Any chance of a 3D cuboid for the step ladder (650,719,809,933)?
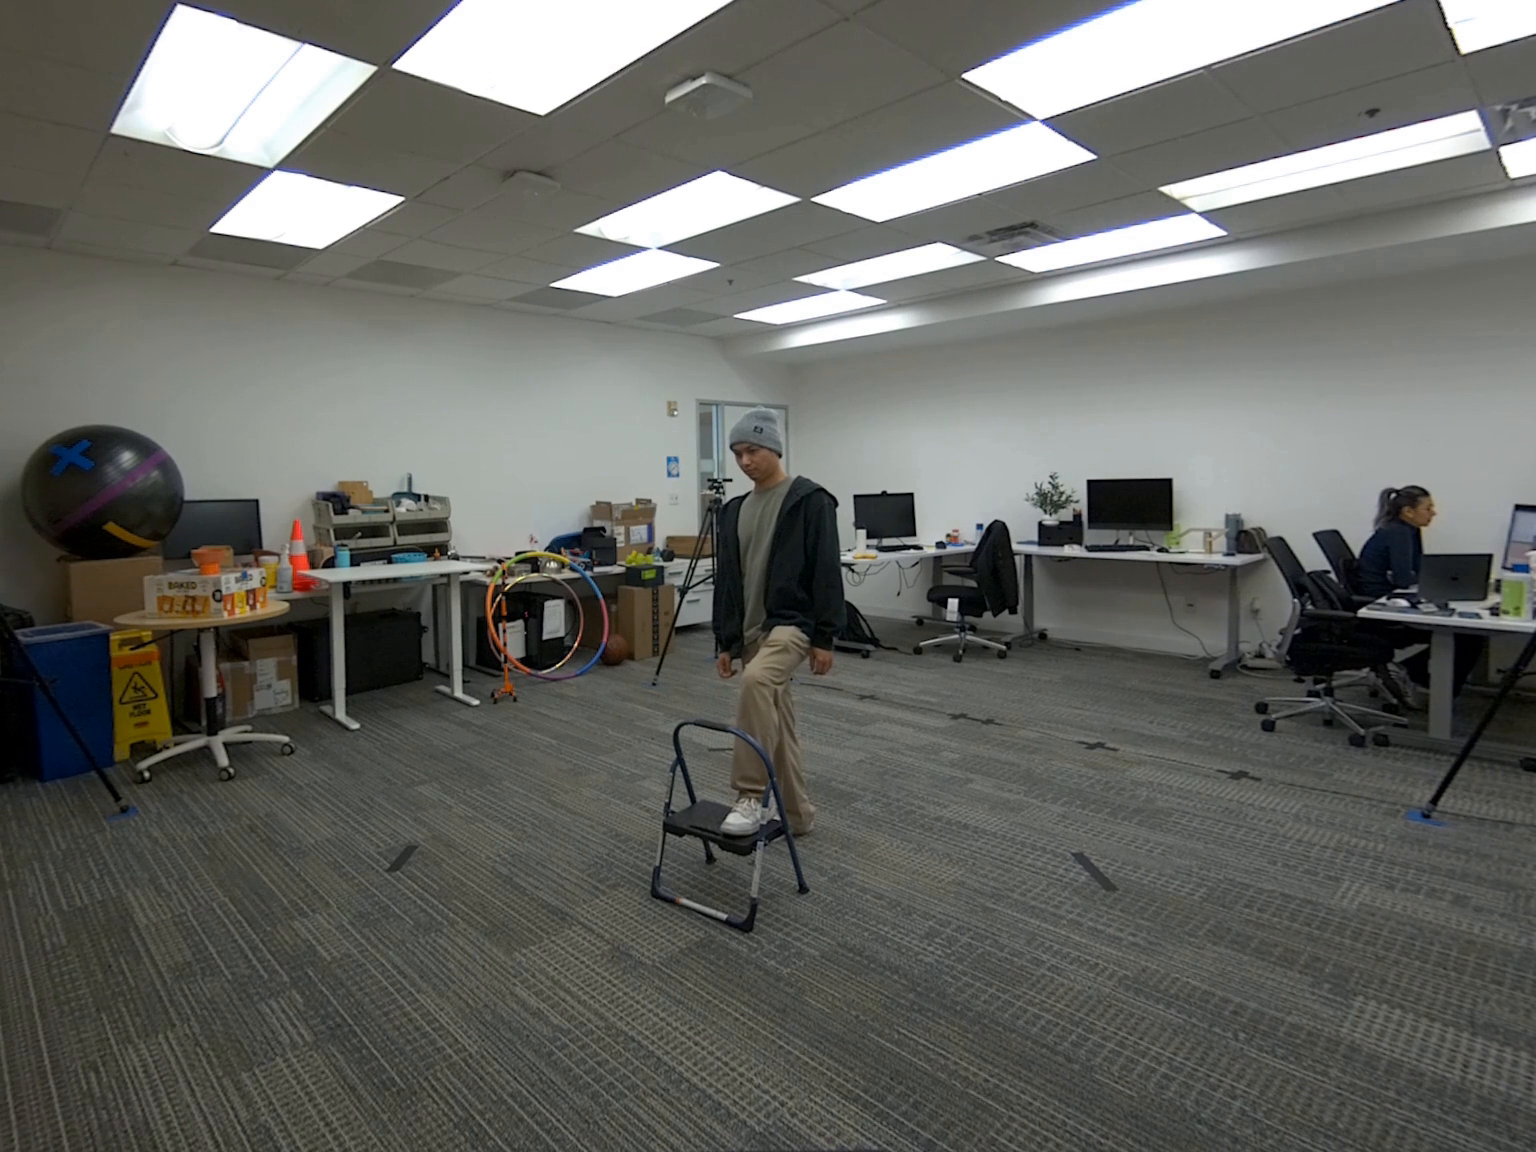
[{"bbox_3d":[-0.137,0.772,2.865,0.443,0.603,0.341,2,6,36],"label":"step ladder"}]
